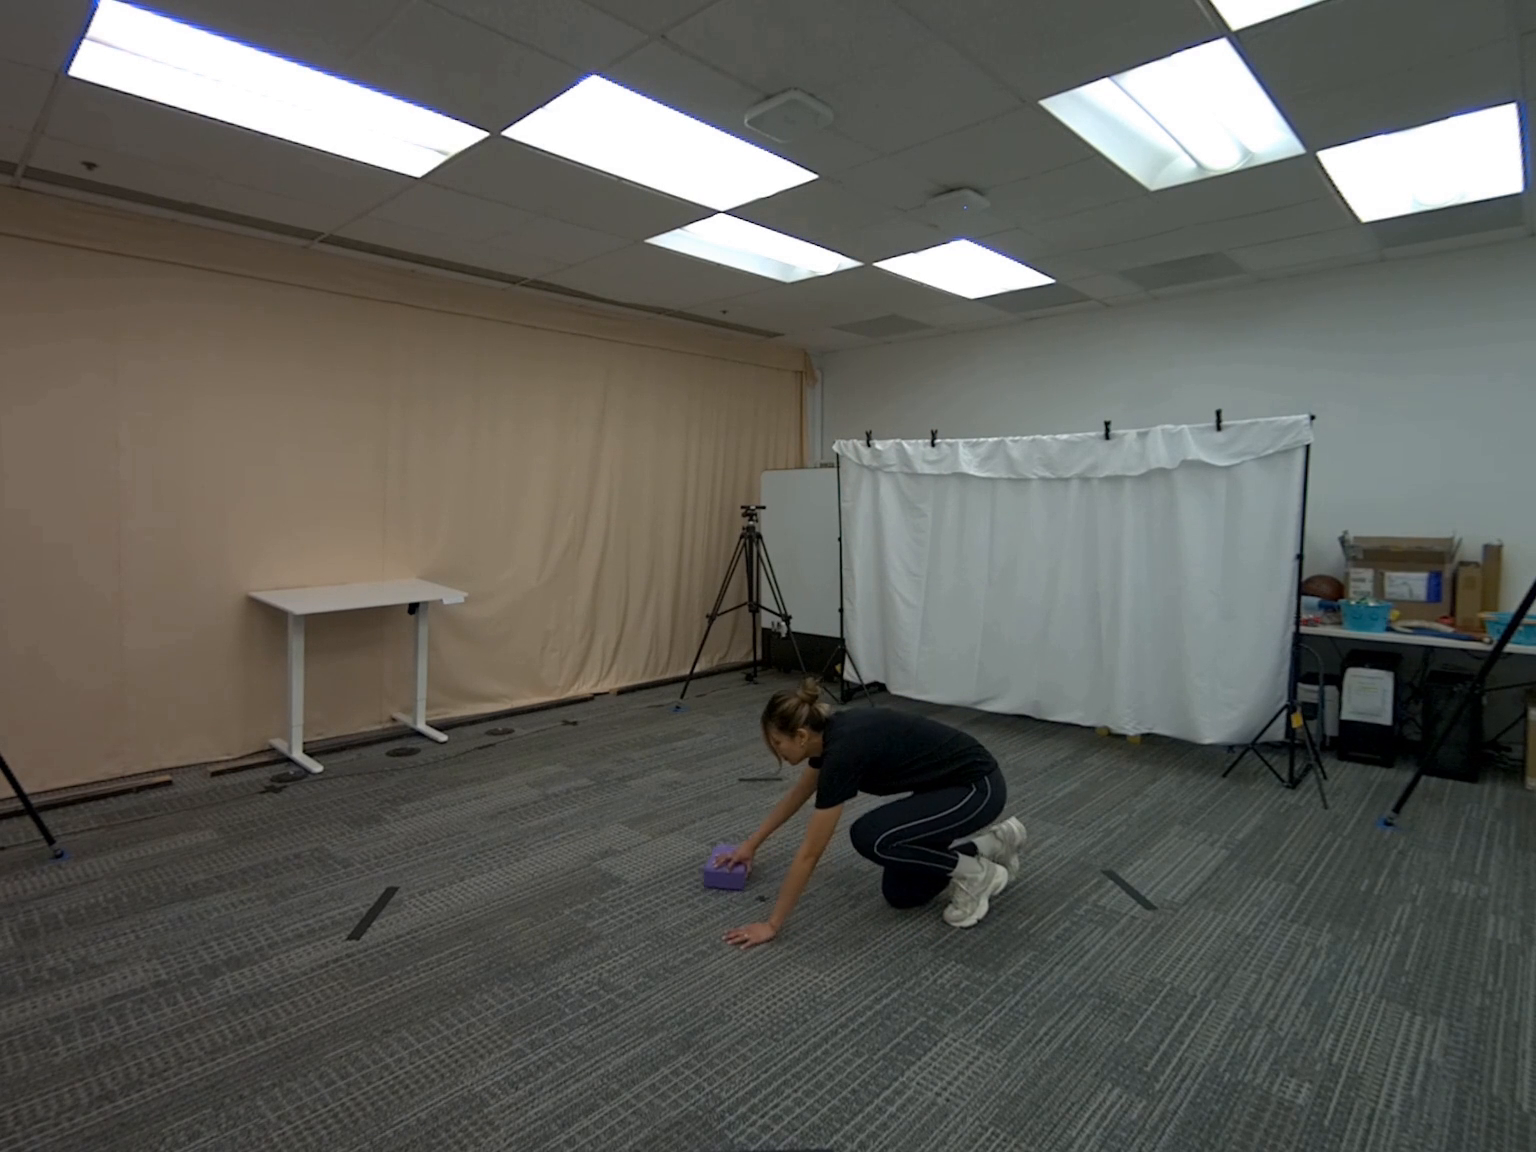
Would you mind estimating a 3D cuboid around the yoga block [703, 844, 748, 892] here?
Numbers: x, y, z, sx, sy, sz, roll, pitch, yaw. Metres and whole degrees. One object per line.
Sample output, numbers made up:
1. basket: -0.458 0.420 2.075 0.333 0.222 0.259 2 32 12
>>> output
1. yoga block: -0.138 1.089 3.148 0.150 0.076 0.228 1 6 7
